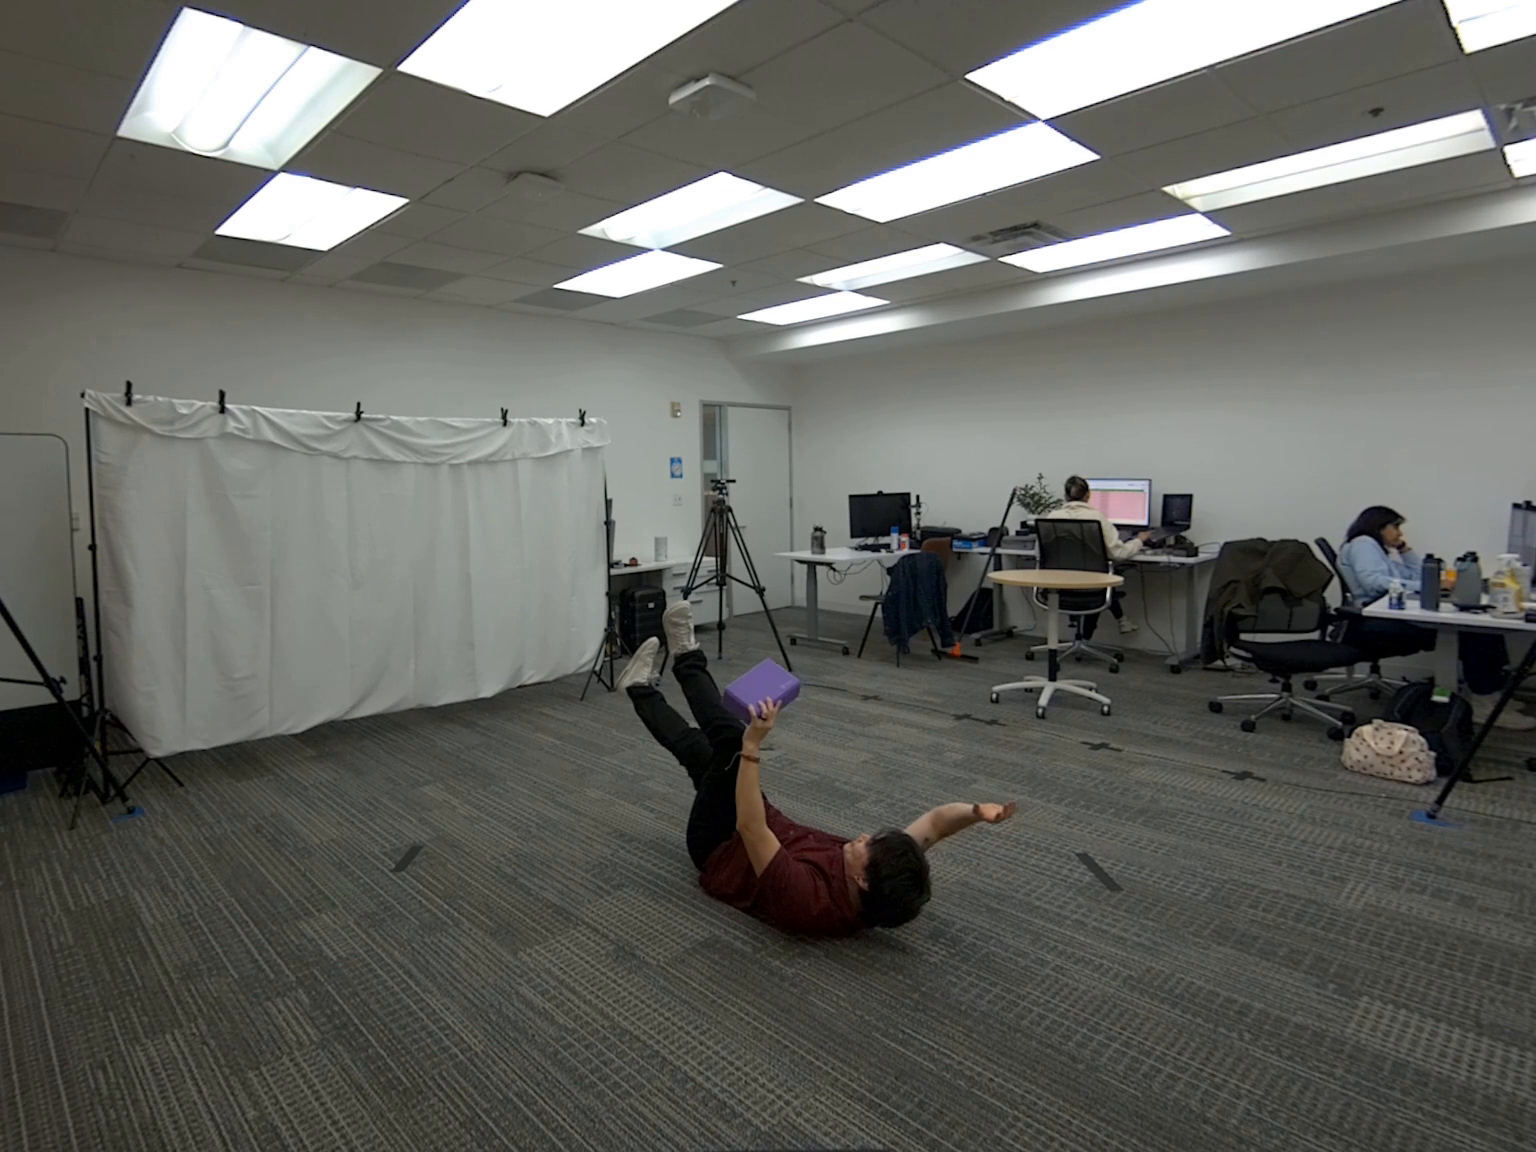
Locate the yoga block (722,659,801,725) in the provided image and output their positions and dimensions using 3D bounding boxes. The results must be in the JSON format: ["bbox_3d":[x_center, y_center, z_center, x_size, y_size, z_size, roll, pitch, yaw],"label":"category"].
[{"bbox_3d":[-0.008,0.371,2.731,0.154,0.075,0.226,31,40,27],"label":"yoga block"}]
